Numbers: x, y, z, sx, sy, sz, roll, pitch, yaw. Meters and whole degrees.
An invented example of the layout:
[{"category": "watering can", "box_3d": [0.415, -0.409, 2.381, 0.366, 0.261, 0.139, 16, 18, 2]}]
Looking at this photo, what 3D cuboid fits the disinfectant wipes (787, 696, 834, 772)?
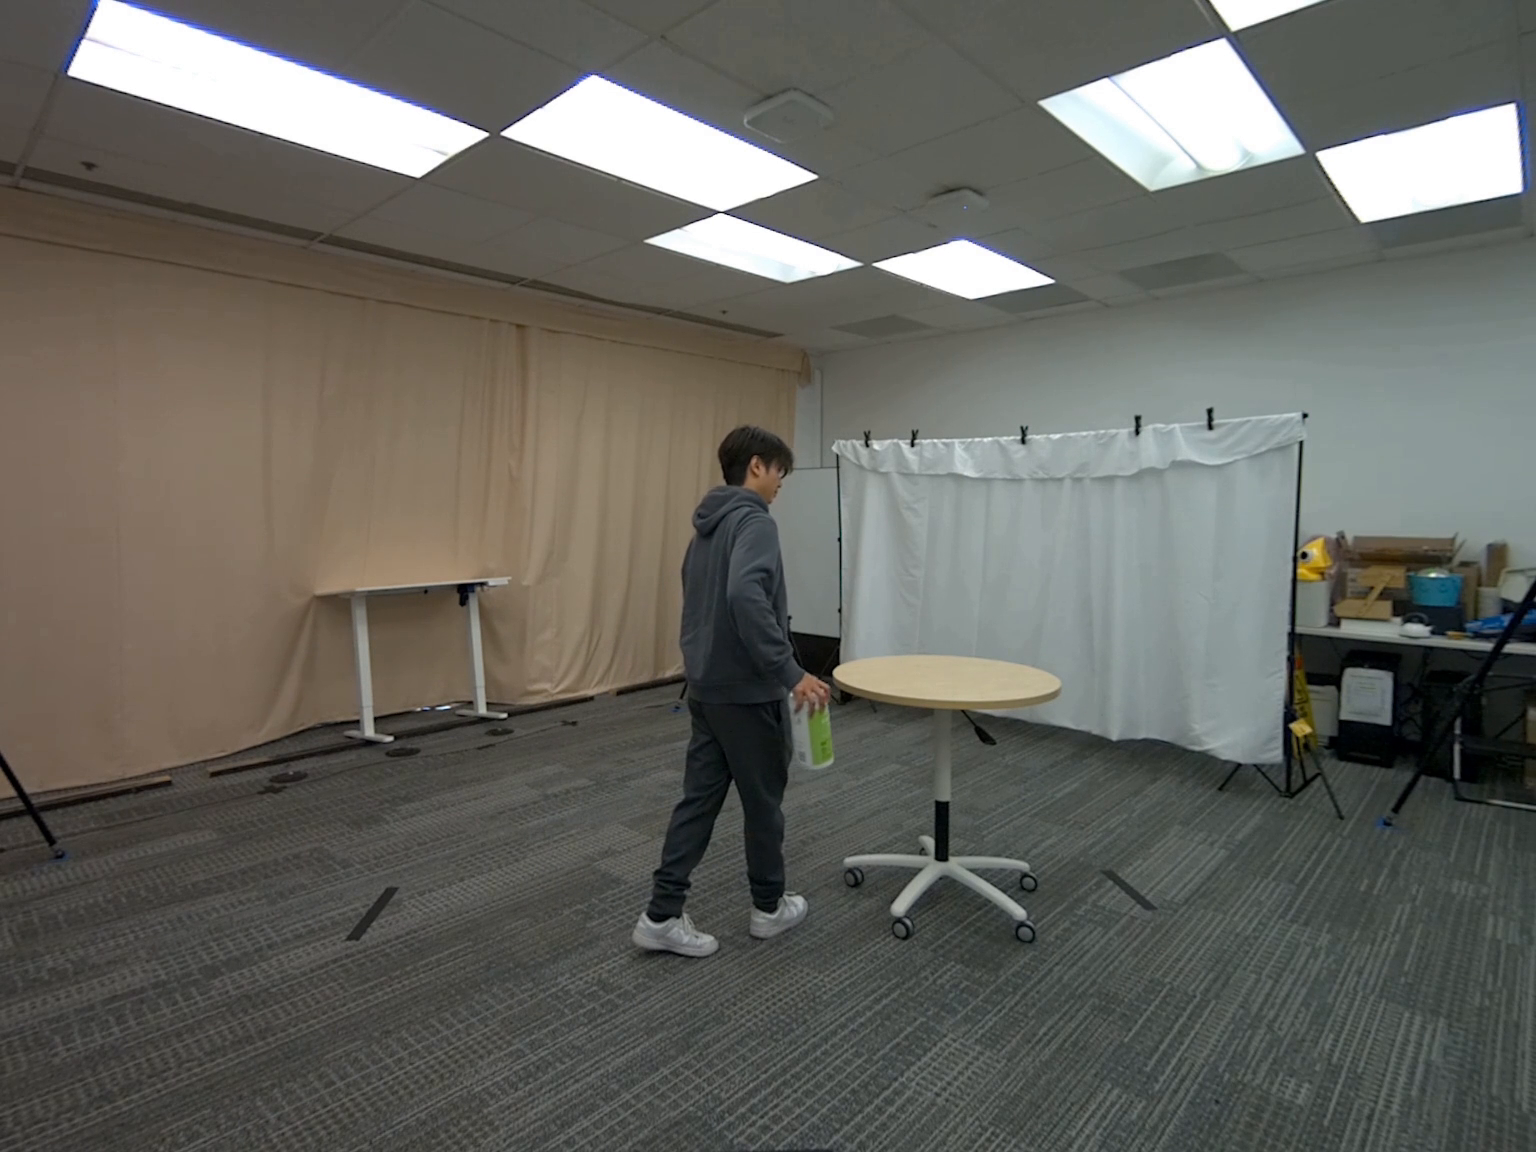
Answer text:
[{"category": "disinfectant wipes", "box_3d": [0.131, 0.431, 2.371, 0.118, 0.215, 0.119, -7, 12, 0]}]
